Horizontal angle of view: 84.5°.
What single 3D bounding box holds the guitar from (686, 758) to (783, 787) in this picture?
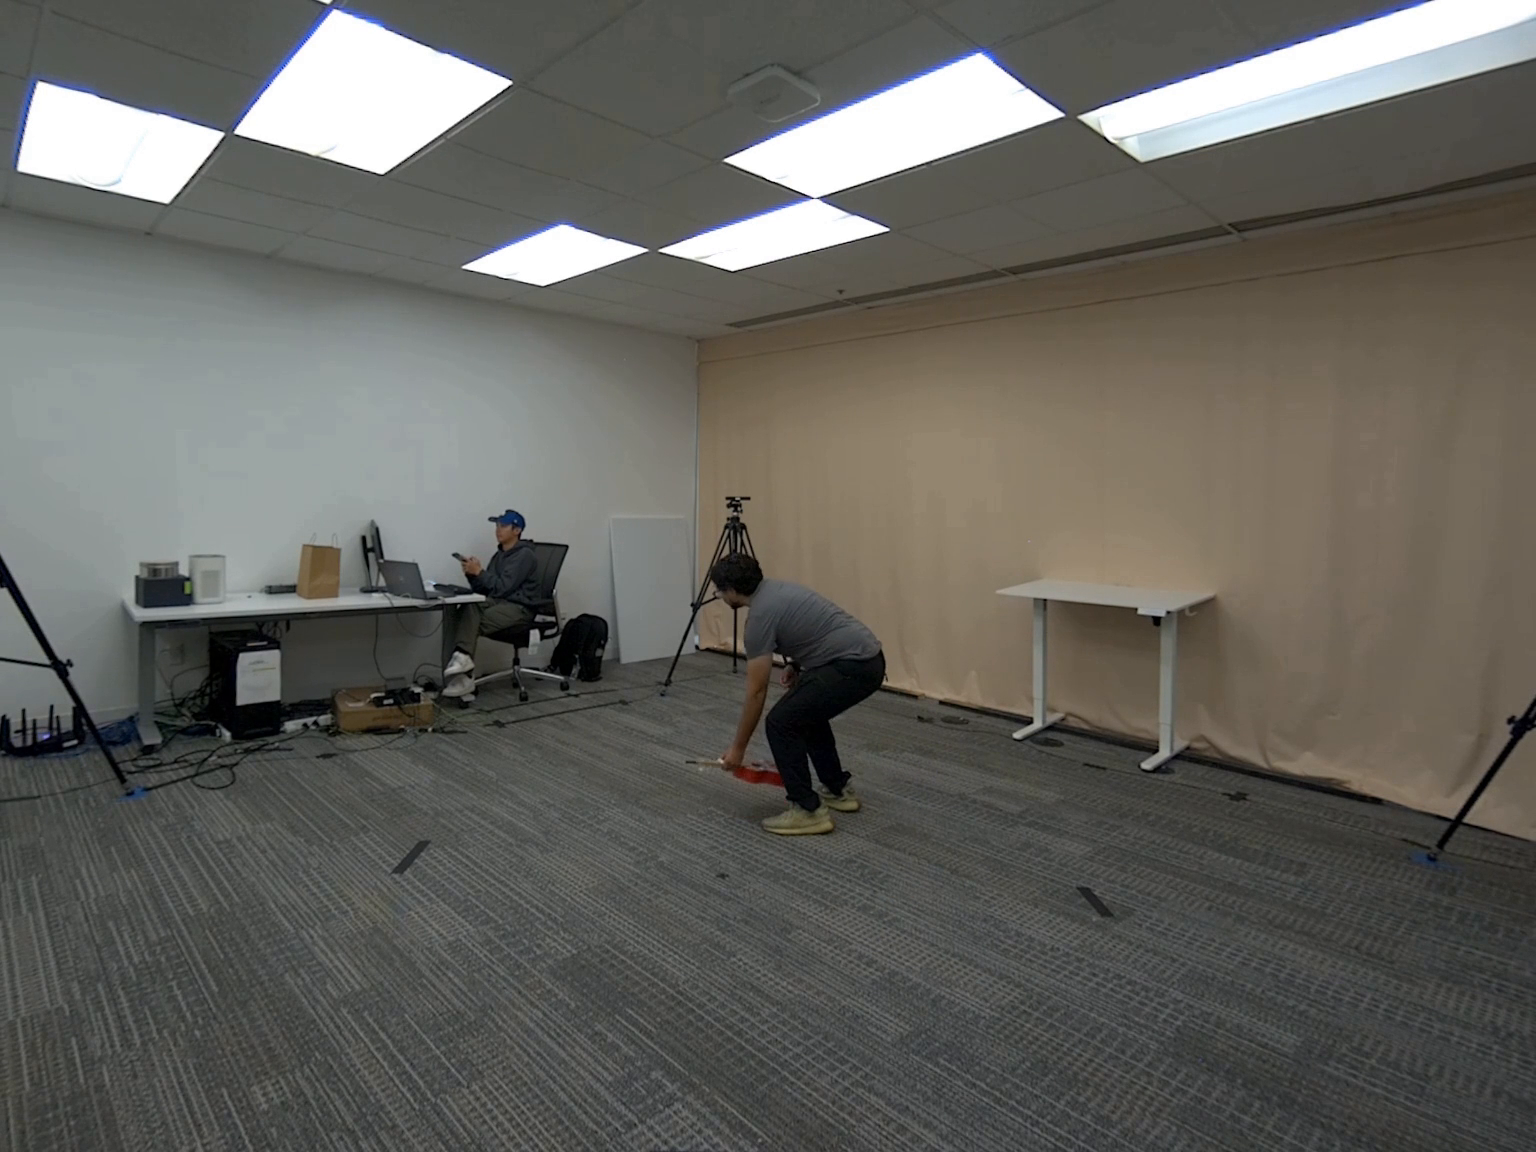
[{"bbox_3d":[-0.134,0.841,3.718,0.488,0.071,0.197,14,1,-23],"label":"guitar"}]
